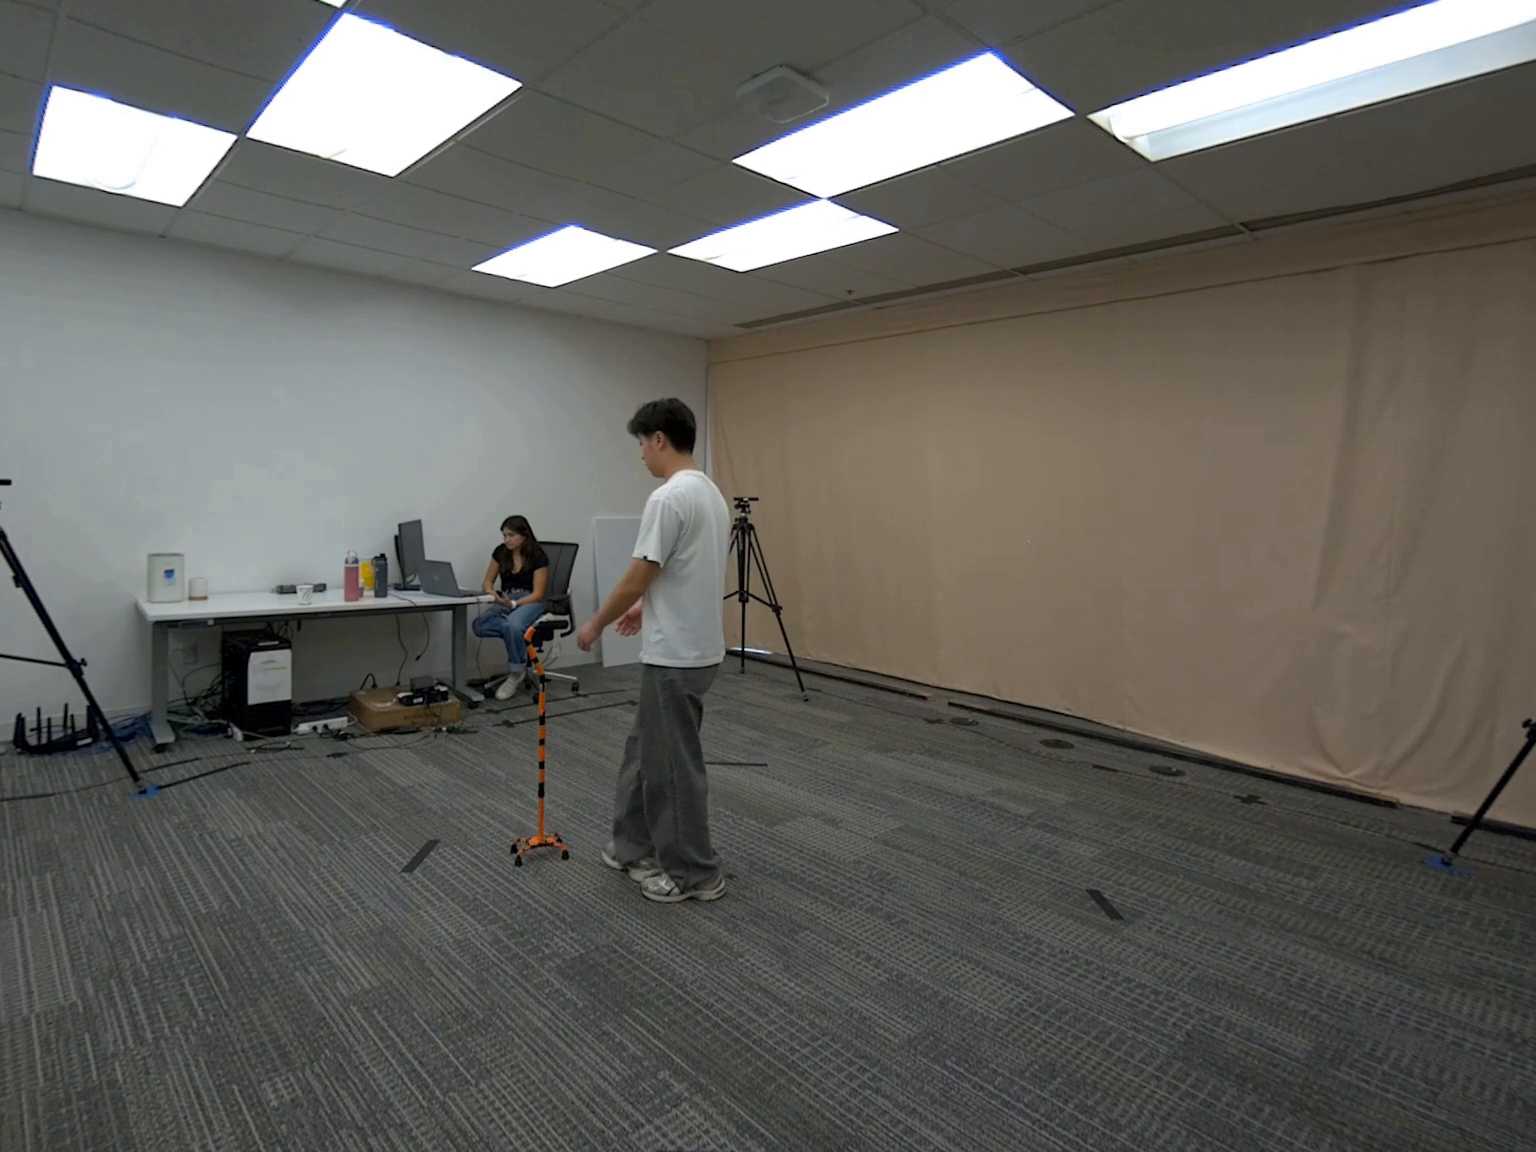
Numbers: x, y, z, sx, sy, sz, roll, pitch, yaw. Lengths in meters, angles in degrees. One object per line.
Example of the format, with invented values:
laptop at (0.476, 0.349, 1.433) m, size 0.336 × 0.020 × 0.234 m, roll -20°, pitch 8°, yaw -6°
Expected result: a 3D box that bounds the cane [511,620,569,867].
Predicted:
cane at (-0.878, 0.622, 3.228) m, size 0.203 × 0.906 × 0.154 m, roll -1°, pitch 3°, yaw -24°
